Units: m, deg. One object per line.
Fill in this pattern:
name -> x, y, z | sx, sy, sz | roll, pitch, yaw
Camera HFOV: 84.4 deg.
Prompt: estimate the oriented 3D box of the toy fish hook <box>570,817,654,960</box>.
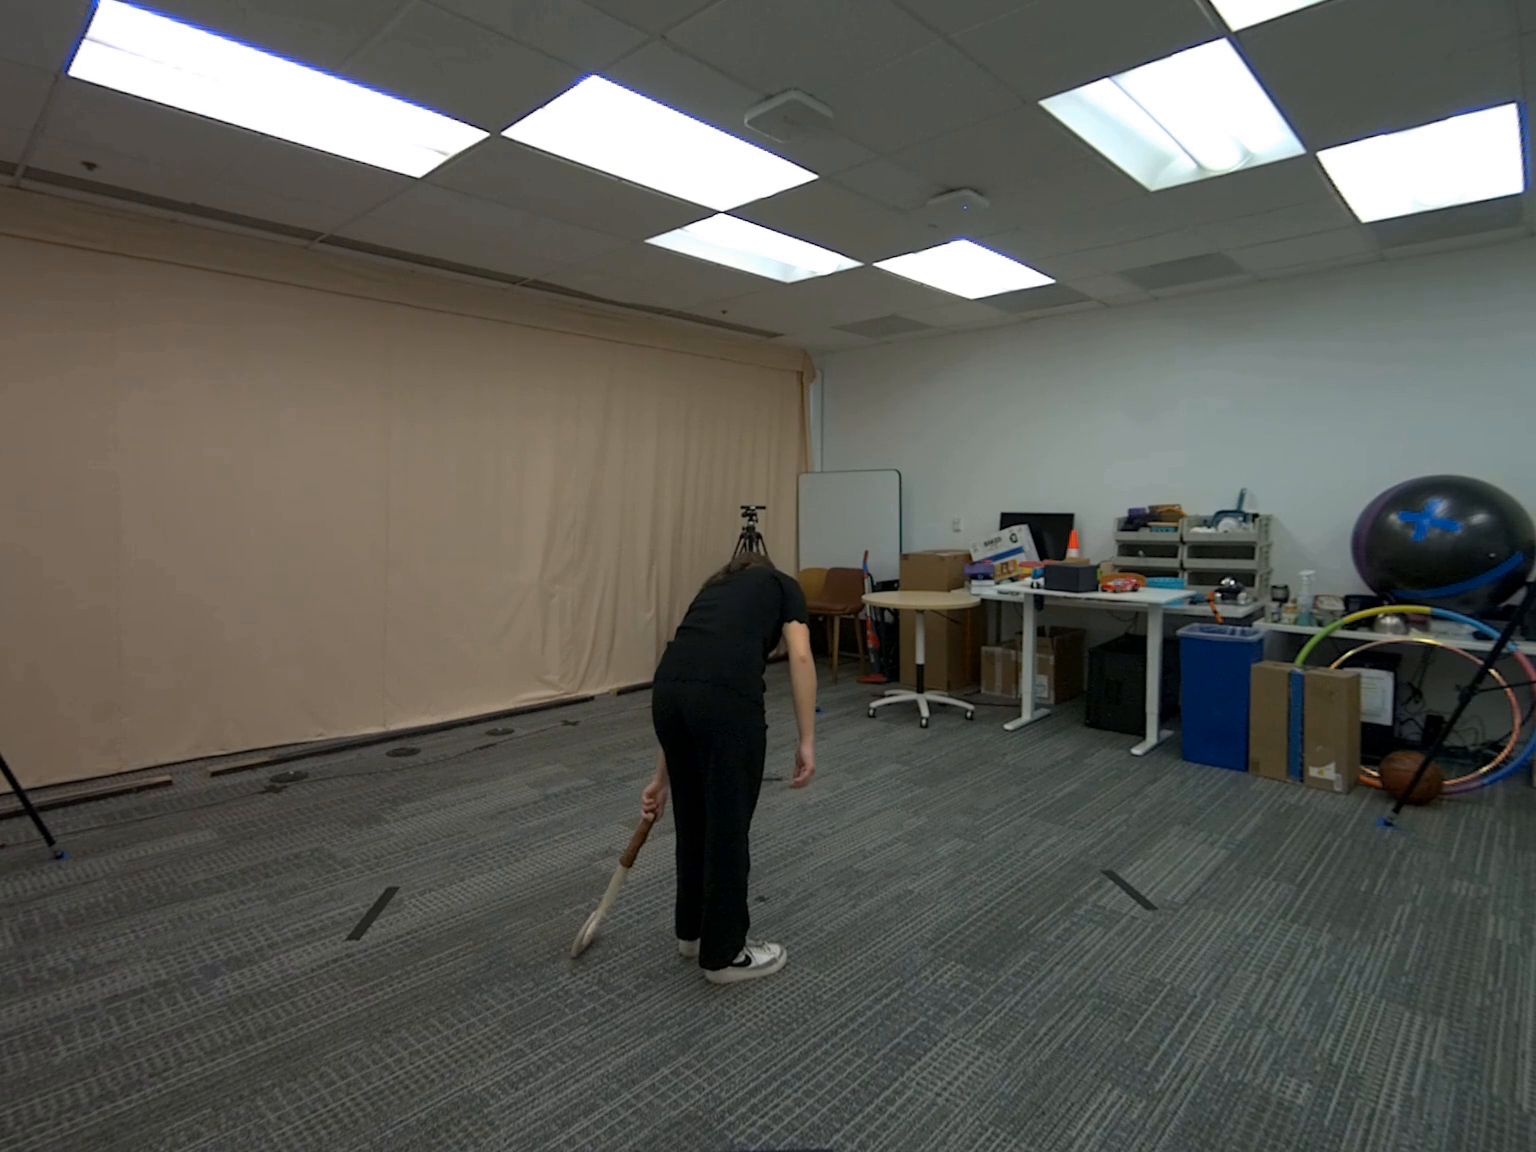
toy fish hook -> -0.474, 0.961, 2.596 | 0.048, 0.506, 0.223 | 28, 8, 3
